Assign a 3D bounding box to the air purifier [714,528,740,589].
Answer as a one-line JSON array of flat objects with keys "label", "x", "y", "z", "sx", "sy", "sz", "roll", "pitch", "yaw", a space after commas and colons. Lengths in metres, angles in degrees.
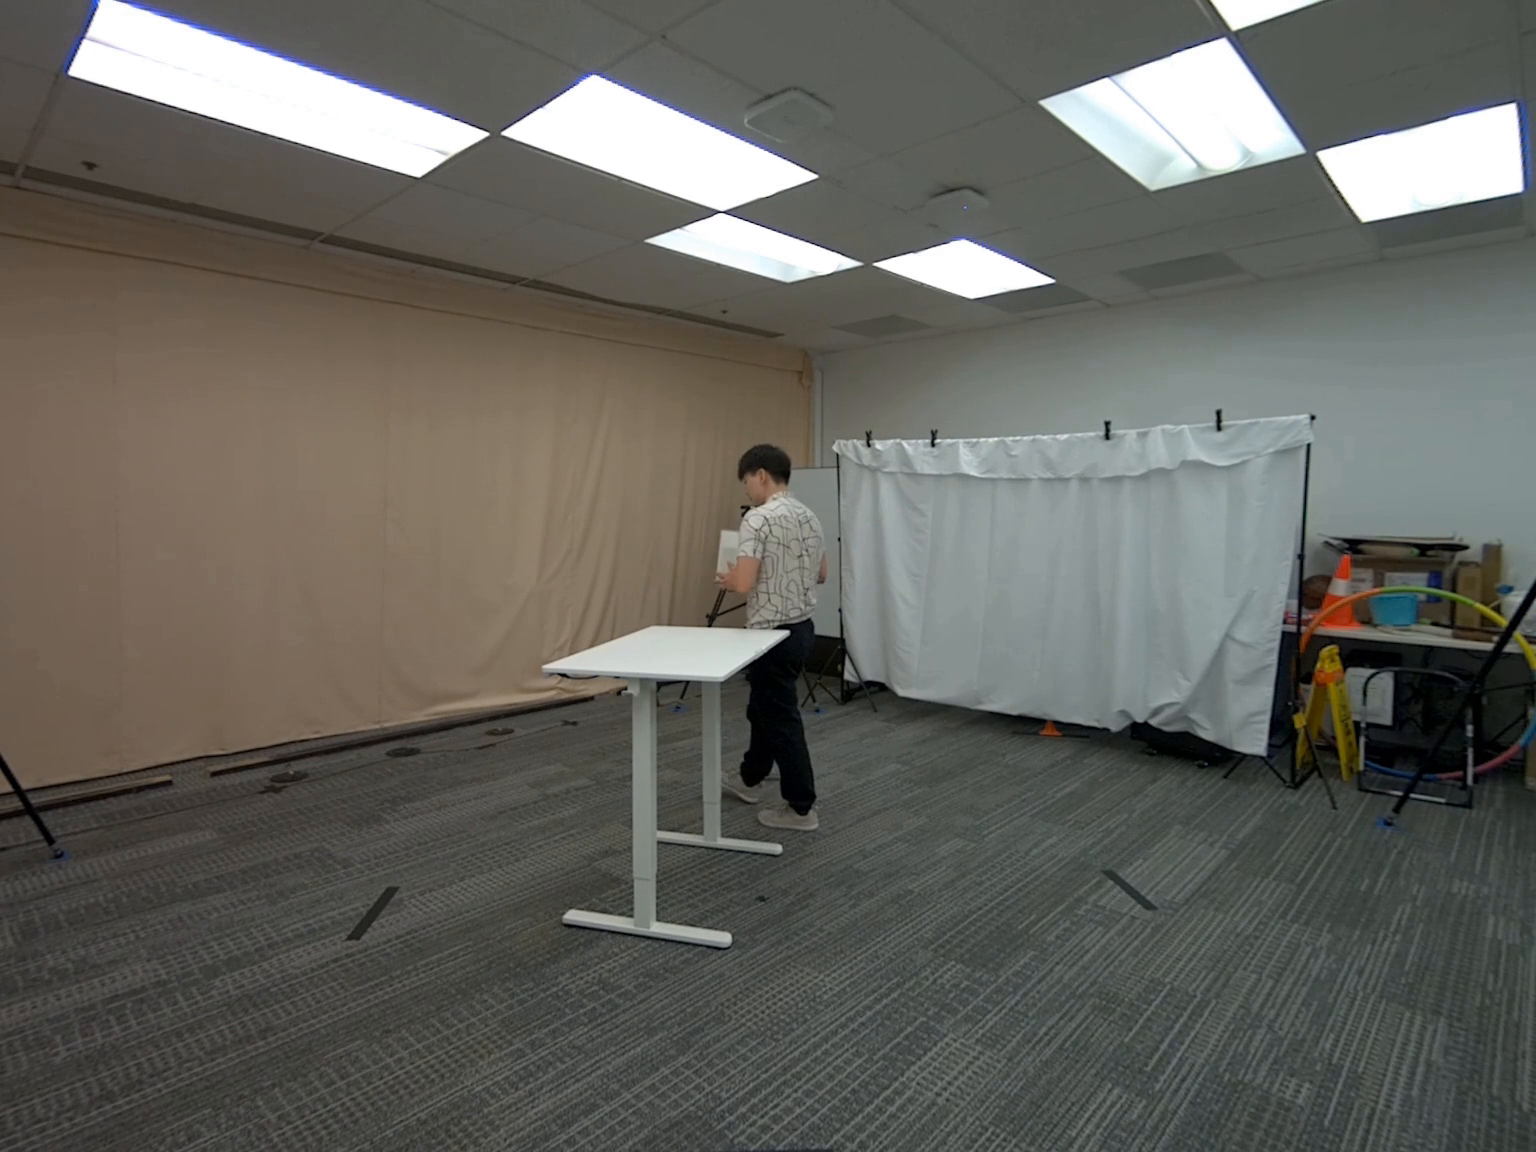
[{"label": "air purifier", "x": -0.111, "y": -0.073, "z": 3.824, "sx": 0.177, "sy": 0.265, "sz": 0.166, "roll": 7, "pitch": 4, "yaw": 35}]
